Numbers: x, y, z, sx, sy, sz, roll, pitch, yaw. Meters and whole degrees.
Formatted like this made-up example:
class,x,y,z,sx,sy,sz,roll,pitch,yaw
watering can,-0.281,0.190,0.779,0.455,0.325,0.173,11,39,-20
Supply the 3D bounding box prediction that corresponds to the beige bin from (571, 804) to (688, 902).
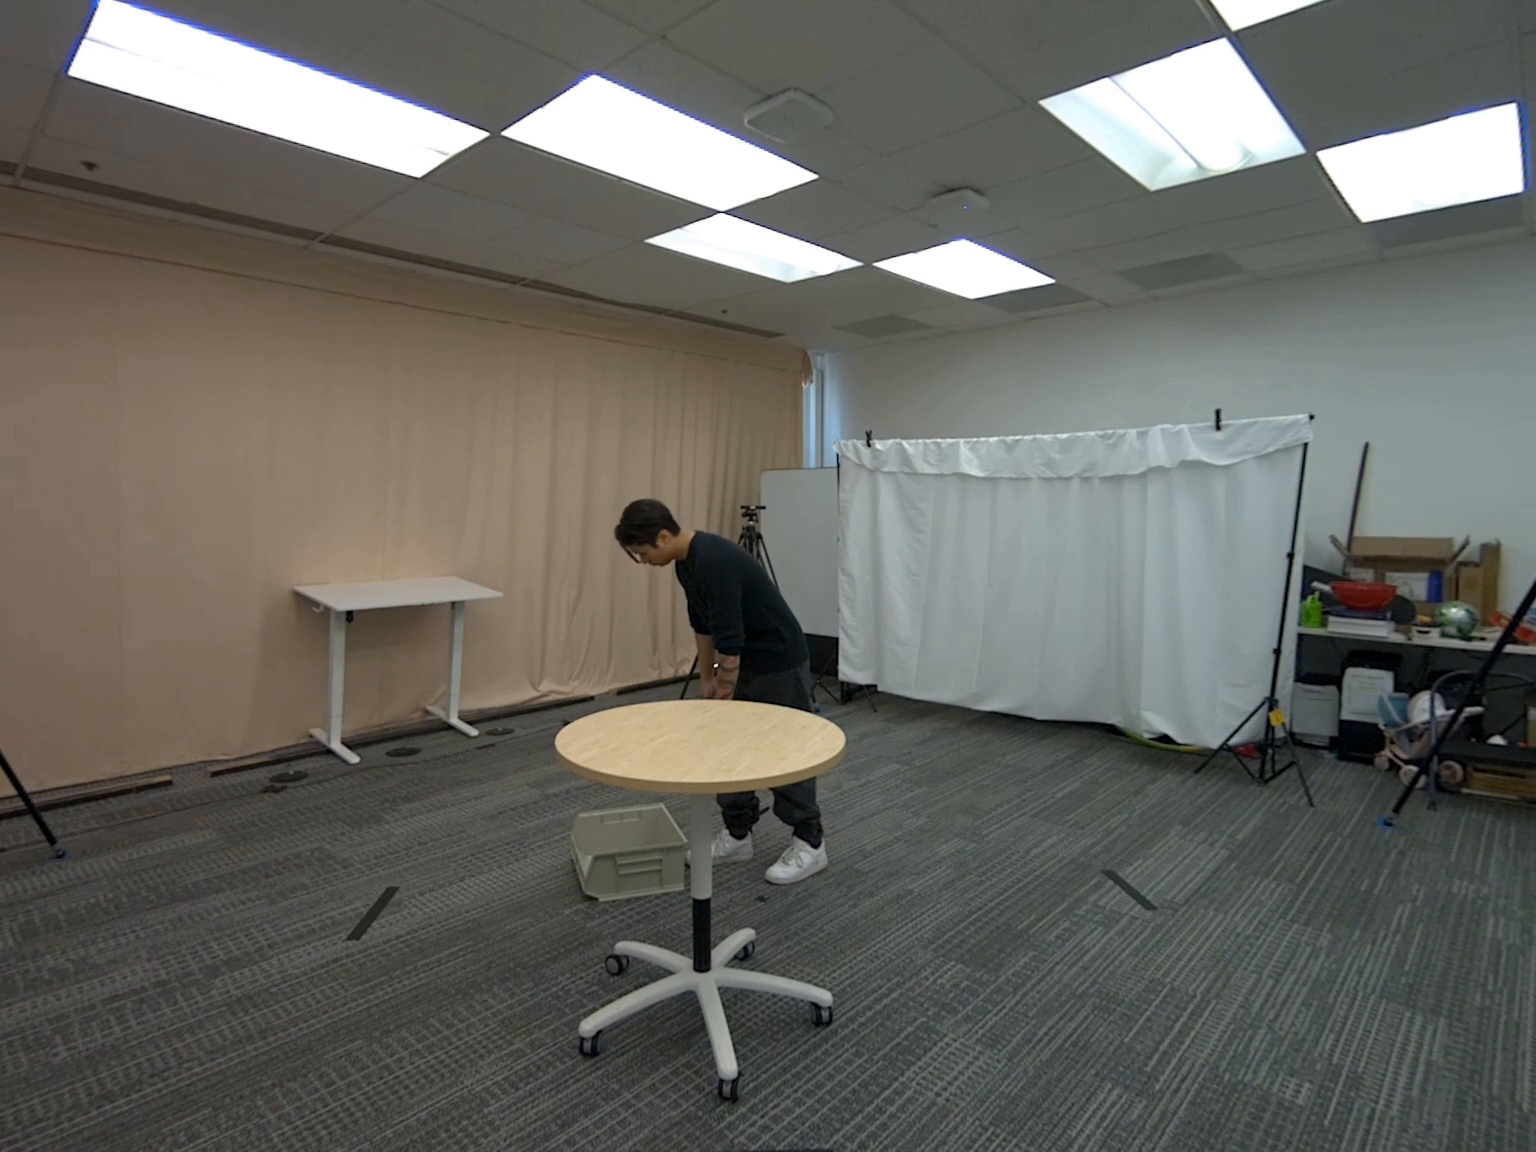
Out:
class,x,y,z,sx,sy,sz,roll,pitch,yaw
beige bin,-0.541,1.041,3.197,0.371,0.188,0.431,-1,4,-18
